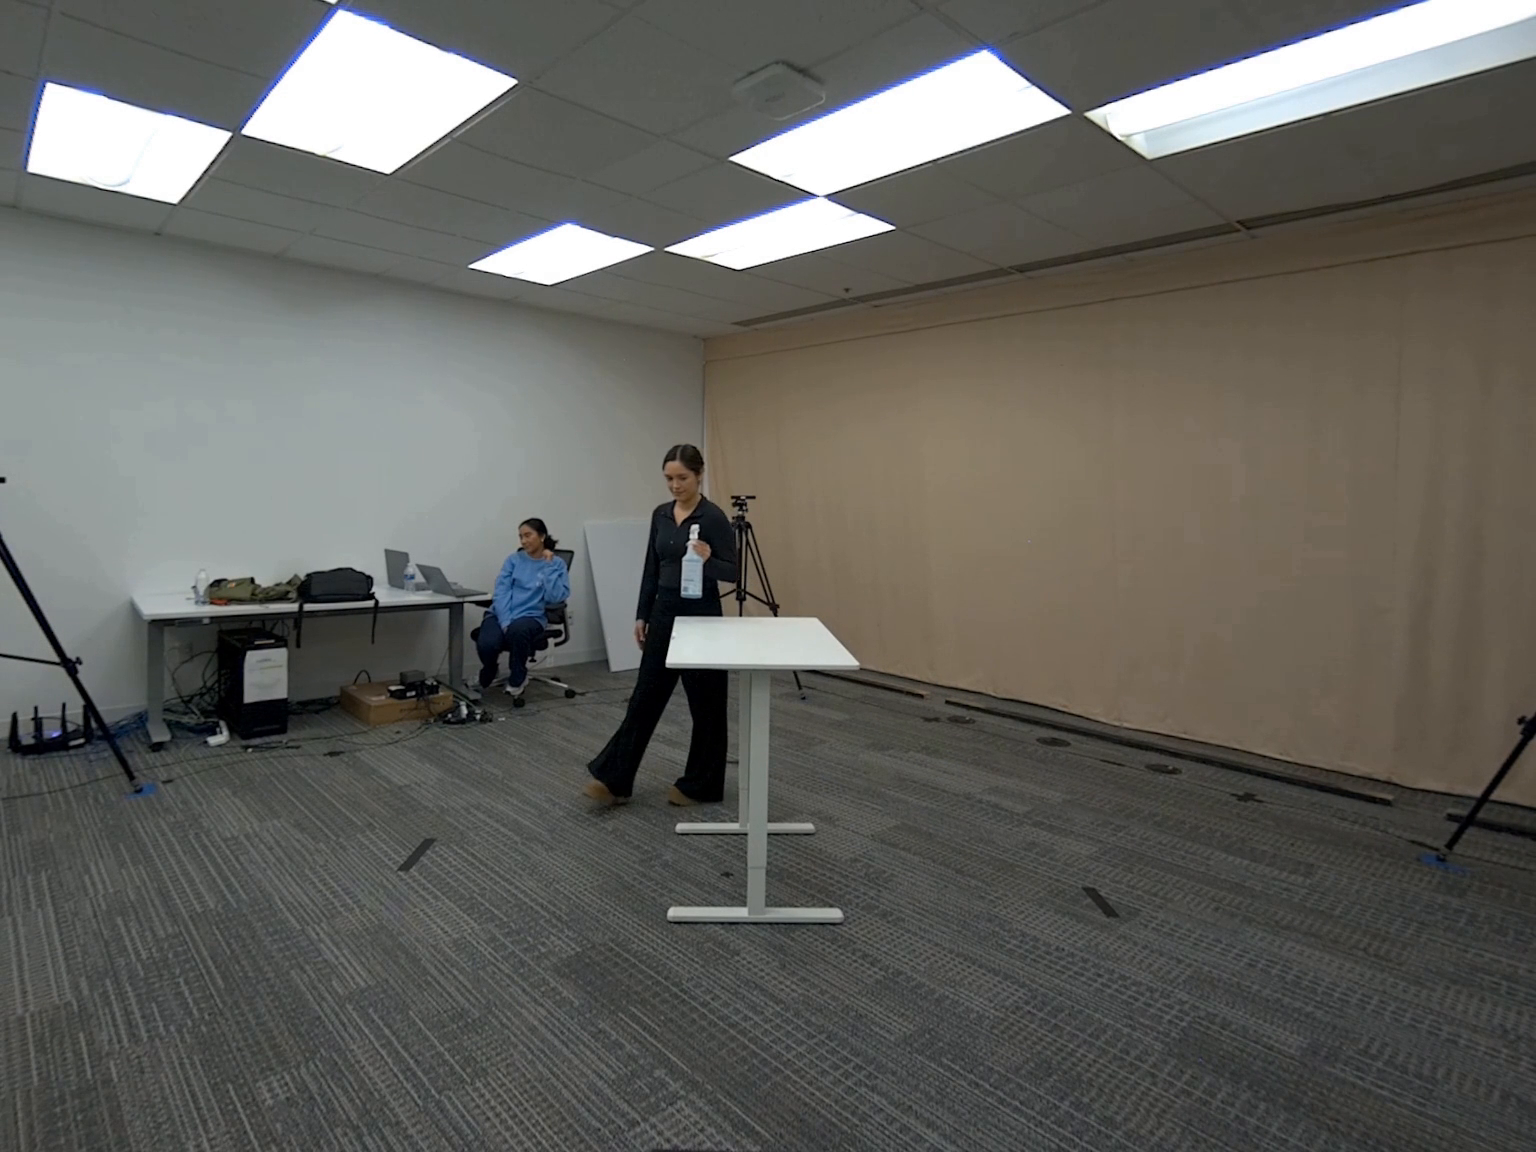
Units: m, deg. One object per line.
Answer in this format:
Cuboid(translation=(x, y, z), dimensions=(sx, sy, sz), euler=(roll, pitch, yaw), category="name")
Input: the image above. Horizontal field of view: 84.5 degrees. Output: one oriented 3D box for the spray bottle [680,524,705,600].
Cuboid(translation=(-0.322, -0.059, 3.435), dimensions=(0.088, 0.297, 0.089), euler=(3, 1, 8), category="spray bottle")
